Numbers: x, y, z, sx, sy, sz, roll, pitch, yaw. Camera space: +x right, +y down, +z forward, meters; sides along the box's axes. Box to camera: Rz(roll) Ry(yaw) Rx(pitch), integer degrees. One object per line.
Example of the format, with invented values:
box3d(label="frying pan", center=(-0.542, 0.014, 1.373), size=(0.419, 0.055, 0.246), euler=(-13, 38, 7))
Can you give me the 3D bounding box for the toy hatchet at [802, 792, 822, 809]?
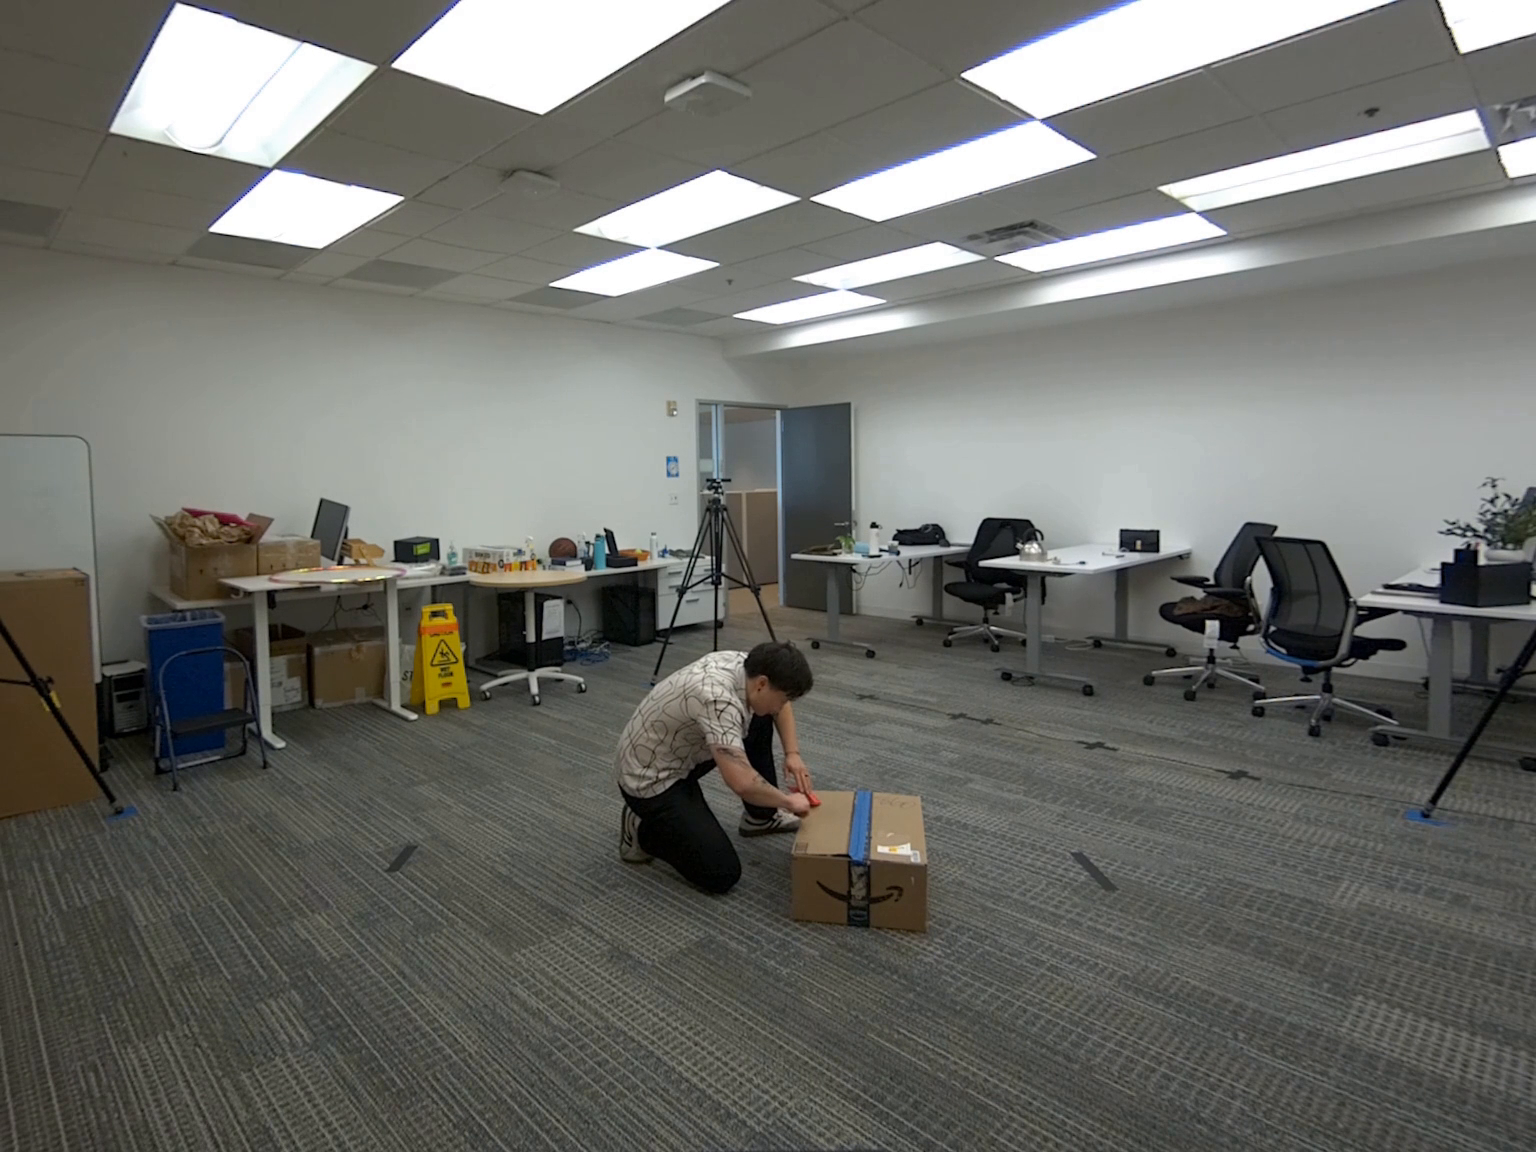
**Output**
box3d(label="toy hatchet", center=(0.153, 0.795, 3.020), size=(0.129, 0.029, 0.273), euler=(21, 1, -12))
